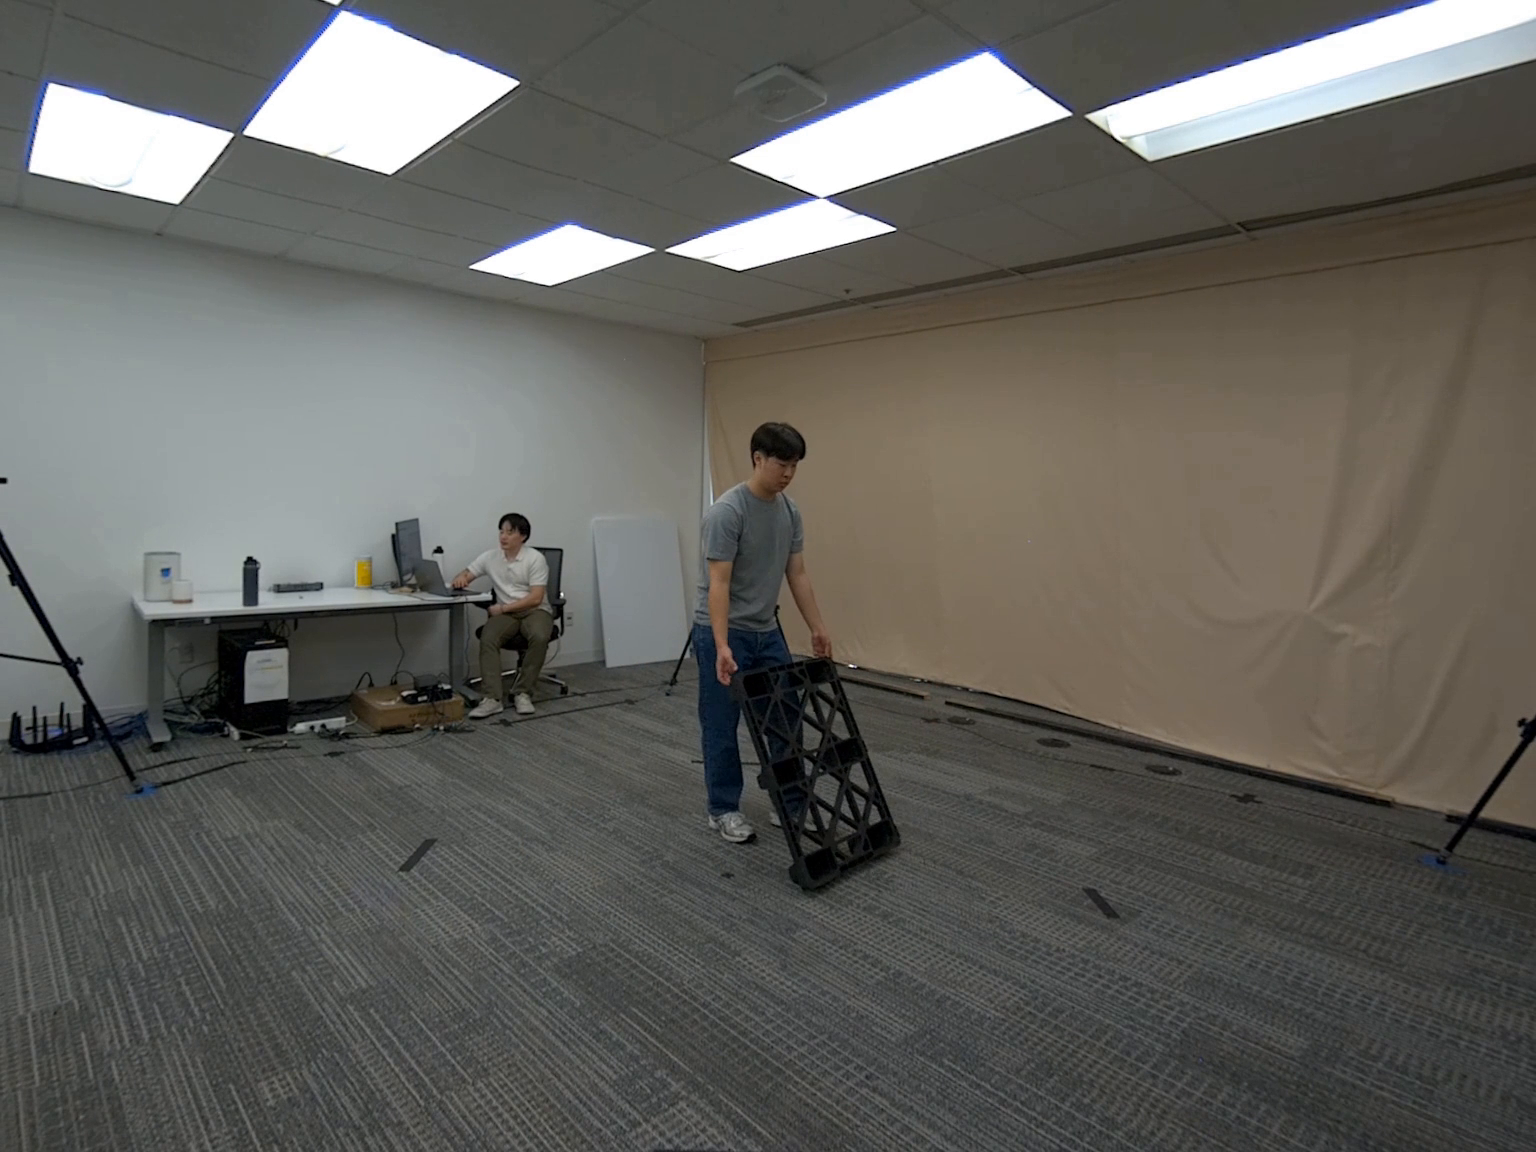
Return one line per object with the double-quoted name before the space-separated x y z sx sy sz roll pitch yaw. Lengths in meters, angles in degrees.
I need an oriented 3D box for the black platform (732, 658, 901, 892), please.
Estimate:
"black platform" 0.162 0.743 3.284 0.591 0.817 0.144 -3 -22 -47
